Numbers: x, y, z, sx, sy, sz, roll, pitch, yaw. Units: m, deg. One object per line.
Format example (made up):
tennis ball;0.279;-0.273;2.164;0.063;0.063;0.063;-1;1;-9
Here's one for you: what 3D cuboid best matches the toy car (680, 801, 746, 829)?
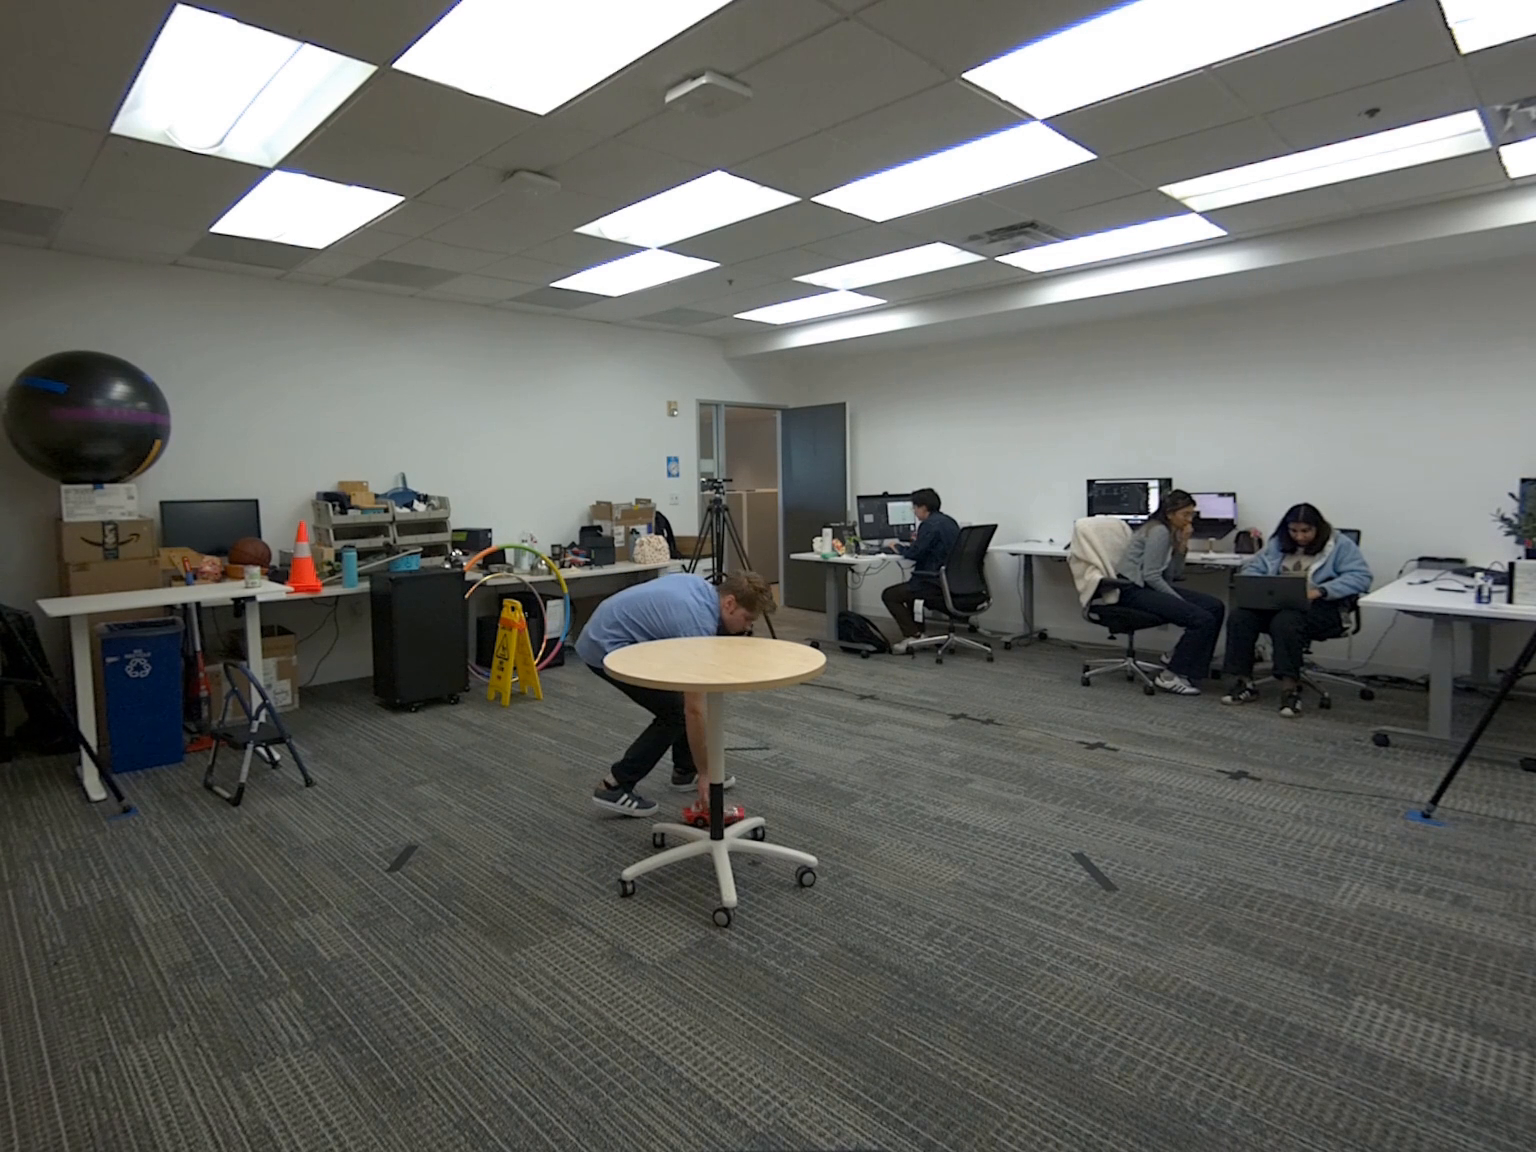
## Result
toy car;-0.224;0.979;3.484;0.254;0.083;0.131;9;4;-3
